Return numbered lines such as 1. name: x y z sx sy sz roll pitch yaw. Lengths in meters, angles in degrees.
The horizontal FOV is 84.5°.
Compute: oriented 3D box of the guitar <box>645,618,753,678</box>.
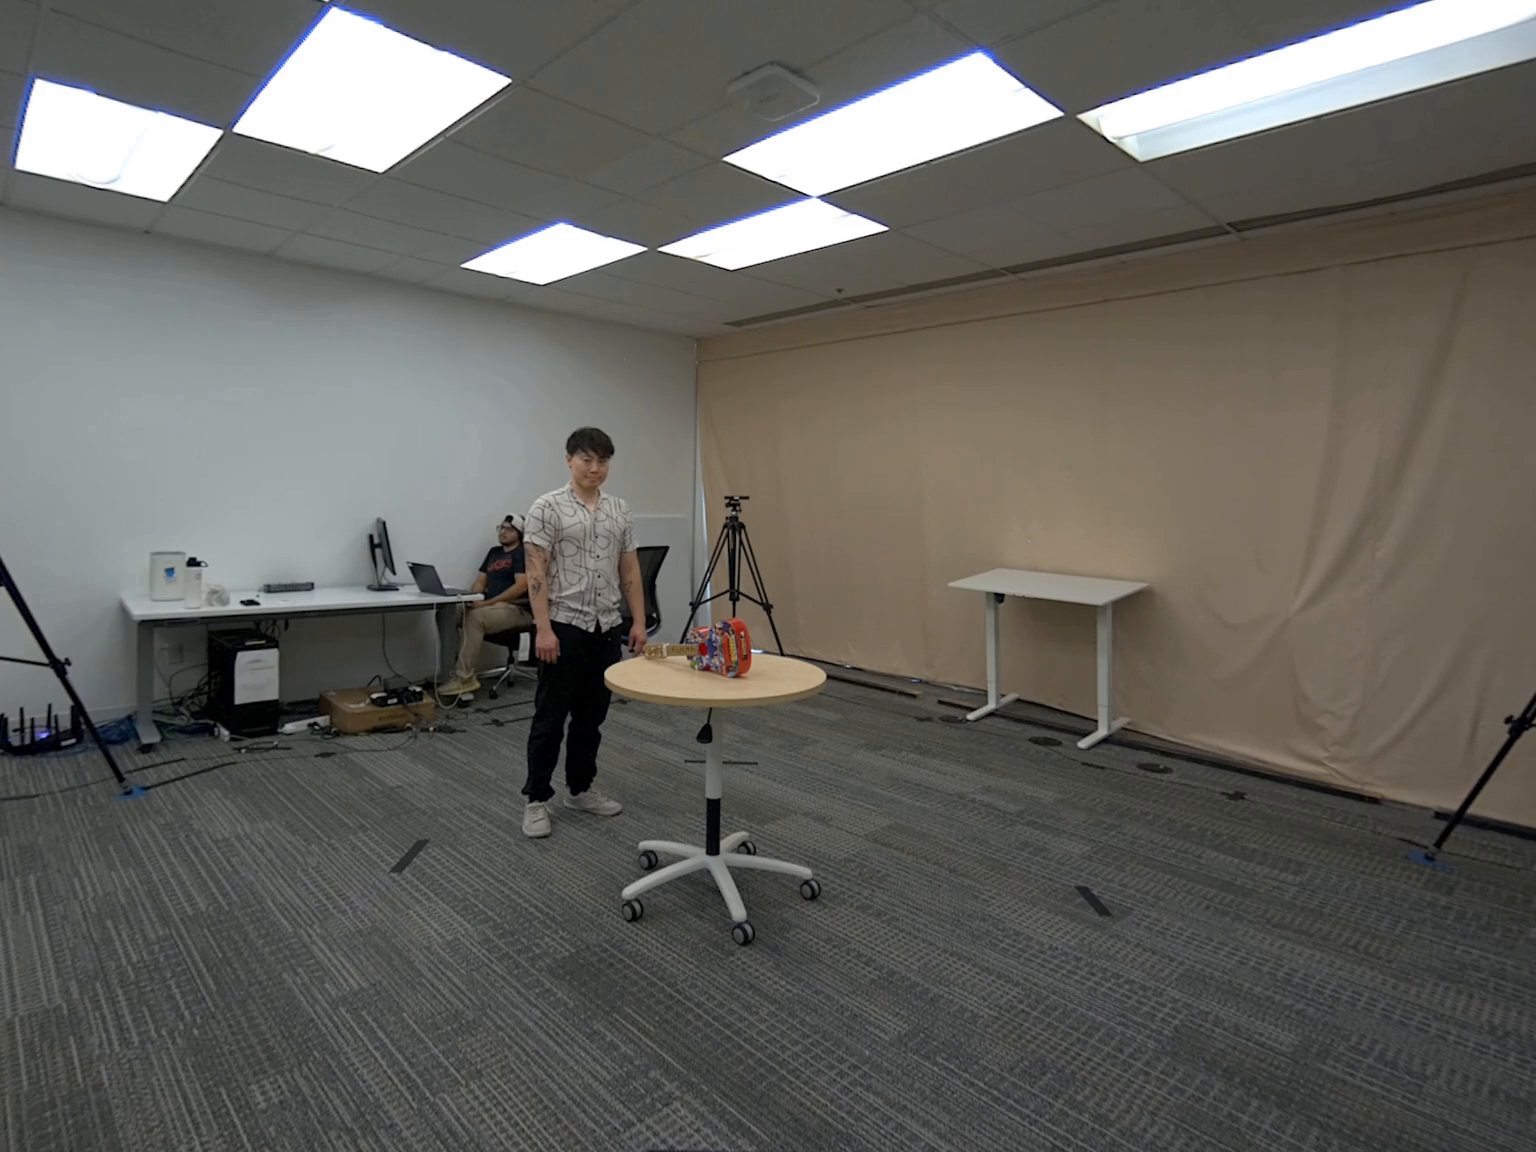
1. guitar: -0.270 0.235 2.980 0.510 0.192 0.069 4 6 43
